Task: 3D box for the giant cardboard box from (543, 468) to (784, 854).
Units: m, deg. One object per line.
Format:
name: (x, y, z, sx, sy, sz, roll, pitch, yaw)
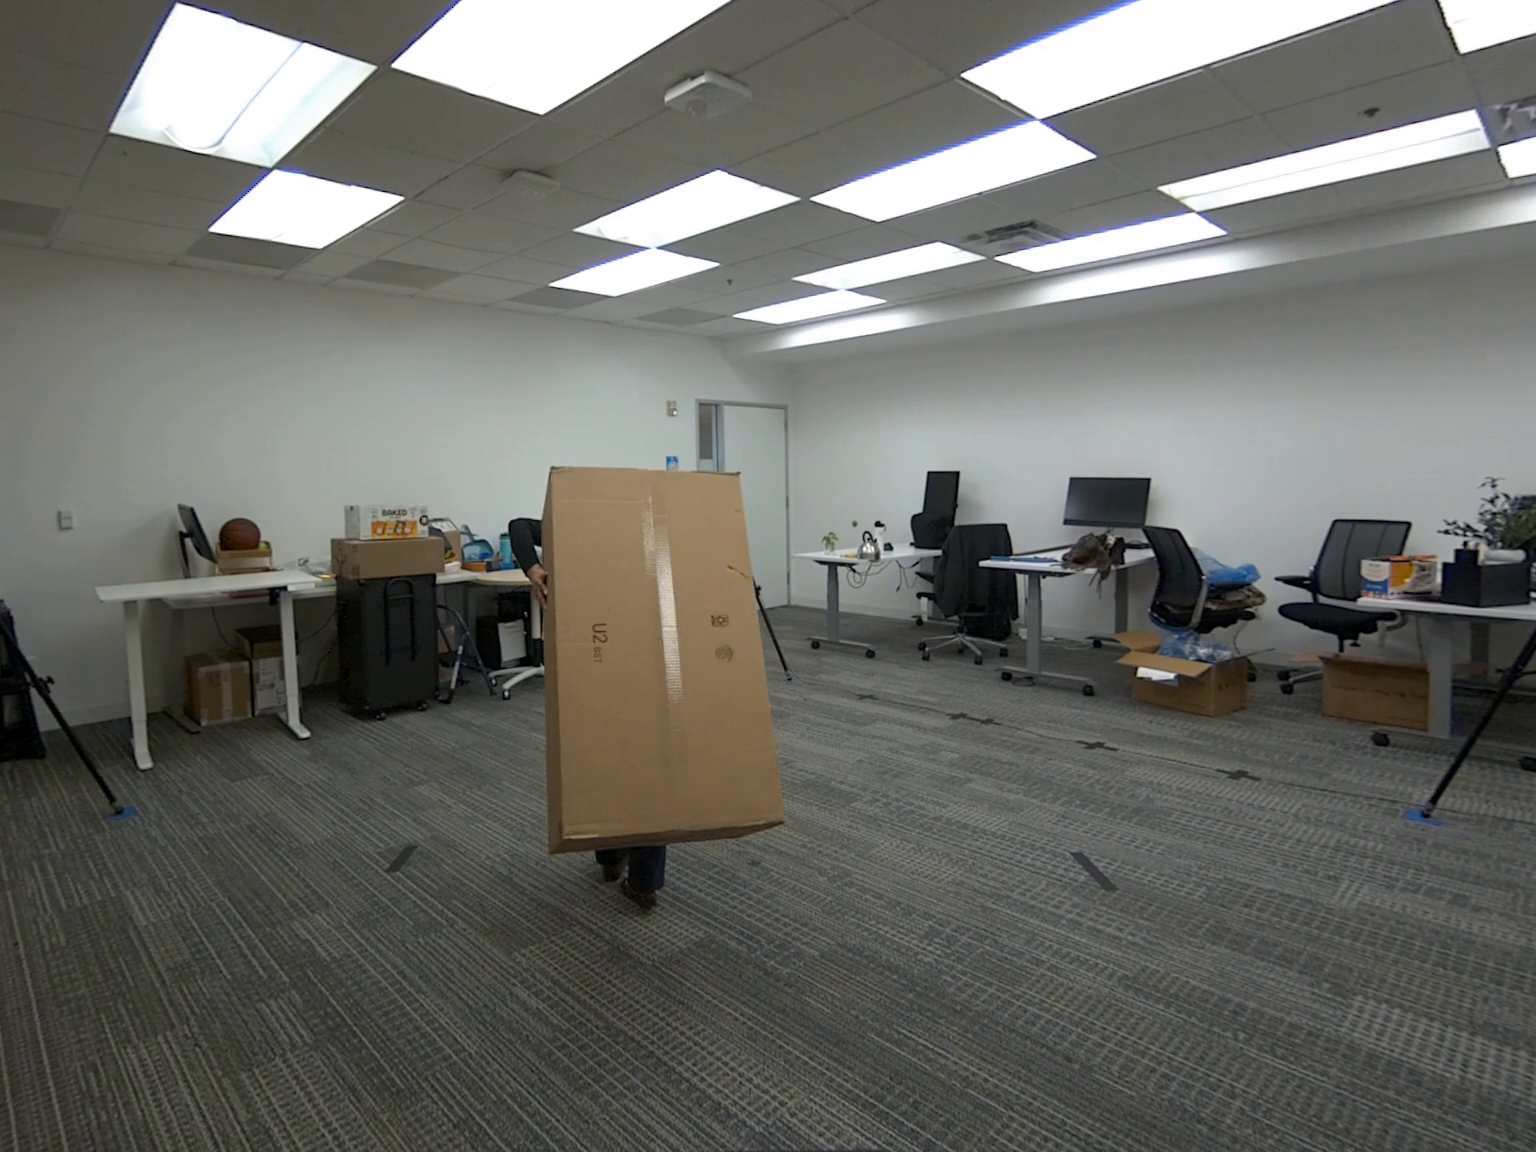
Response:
giant cardboard box: (-0.345, 0.237, 2.508, 0.568, 1.048, 0.424, 0, -23, -18)
